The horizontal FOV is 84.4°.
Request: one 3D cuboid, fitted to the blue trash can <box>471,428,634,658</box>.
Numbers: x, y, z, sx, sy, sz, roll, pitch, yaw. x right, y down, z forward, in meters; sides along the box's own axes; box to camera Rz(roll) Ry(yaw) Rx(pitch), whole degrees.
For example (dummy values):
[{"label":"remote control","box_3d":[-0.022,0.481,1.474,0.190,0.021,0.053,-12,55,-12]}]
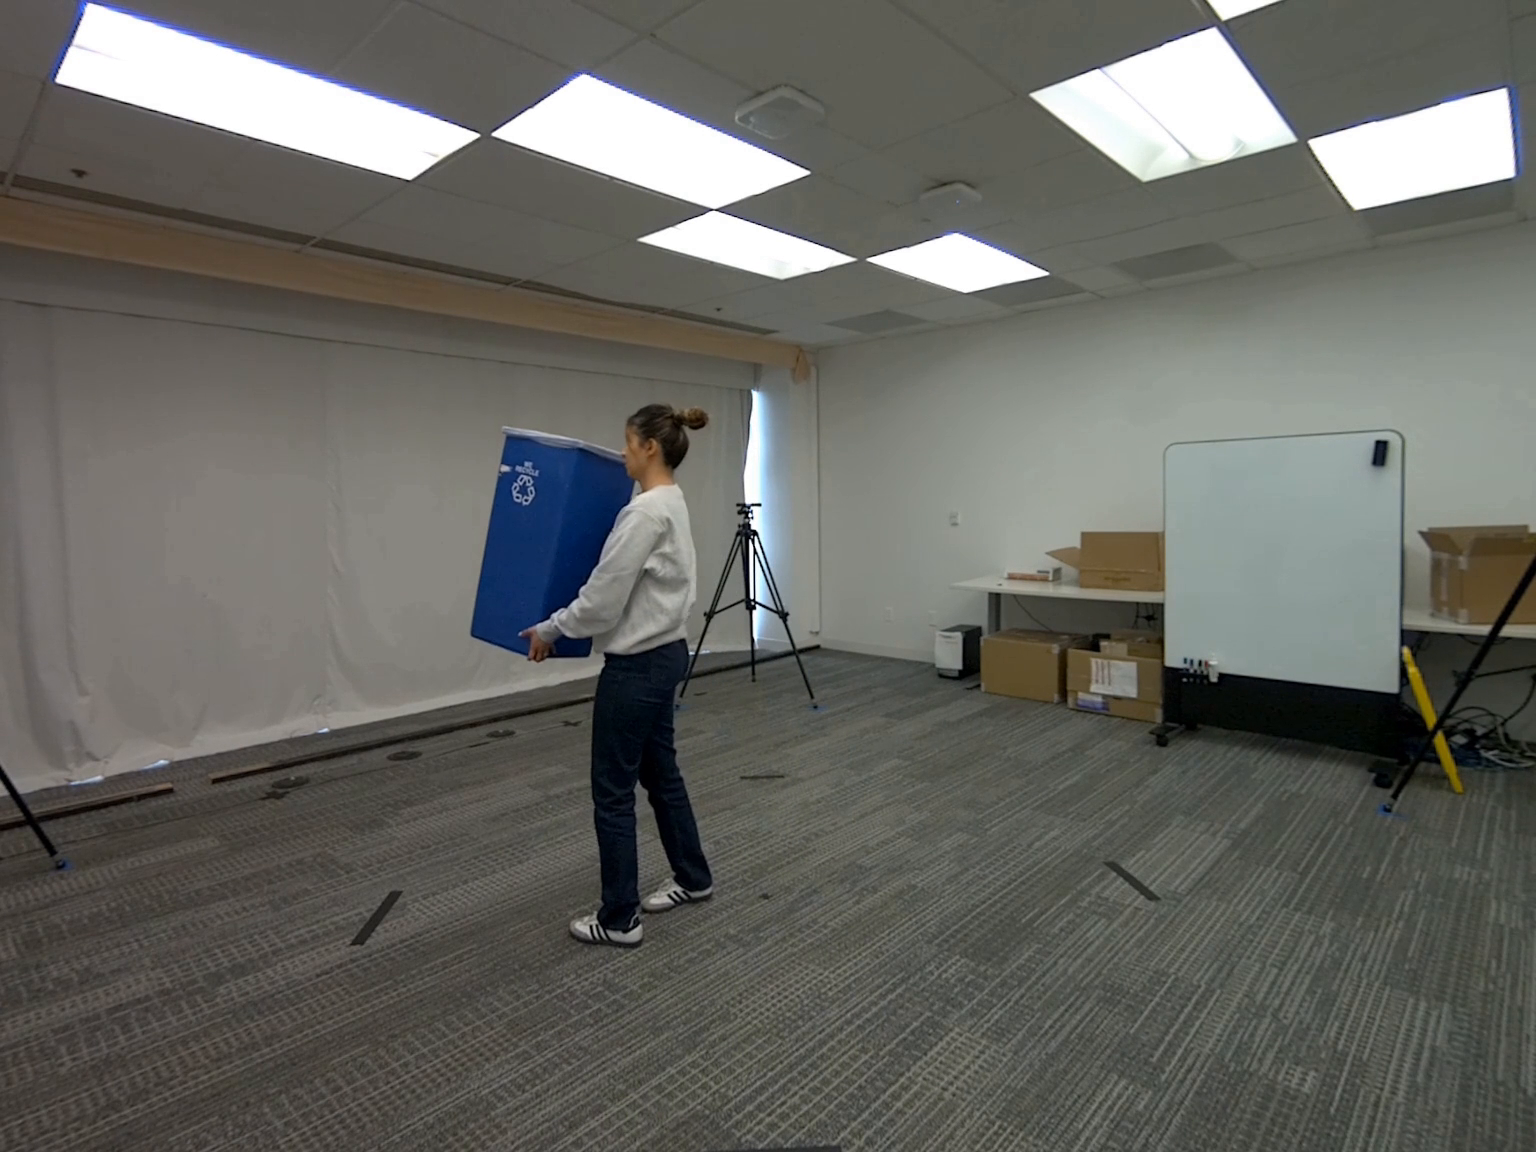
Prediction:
[{"label":"blue trash can","box_3d":[-0.724,-0.105,2.879,0.386,0.713,0.367,13,1,29]}]
